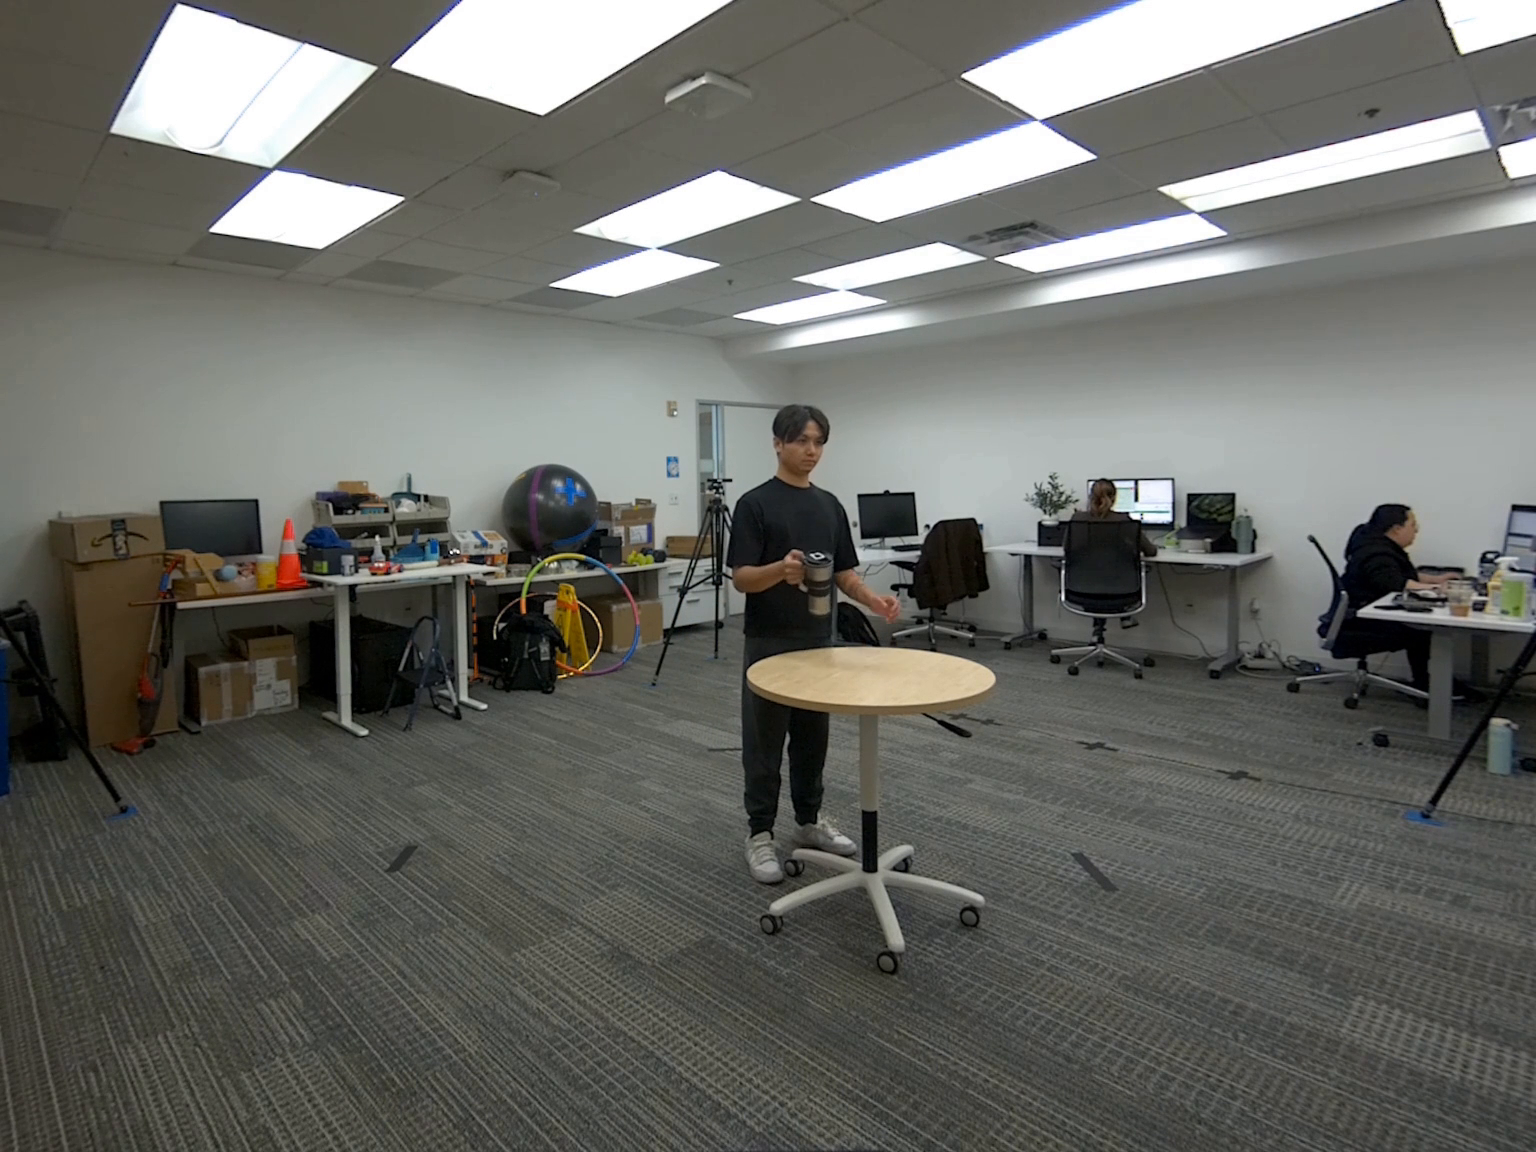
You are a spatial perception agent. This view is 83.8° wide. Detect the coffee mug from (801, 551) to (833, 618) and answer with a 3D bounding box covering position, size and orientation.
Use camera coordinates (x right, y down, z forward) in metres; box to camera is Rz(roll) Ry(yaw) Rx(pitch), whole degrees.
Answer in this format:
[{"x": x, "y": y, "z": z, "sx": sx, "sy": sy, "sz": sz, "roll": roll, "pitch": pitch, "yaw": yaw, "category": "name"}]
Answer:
[{"x": 0.151, "y": 0.023, "z": 2.768, "sx": 0.086, "sy": 0.199, "sz": 0.126, "roll": -22, "pitch": 30, "yaw": -40, "category": "coffee mug"}]
